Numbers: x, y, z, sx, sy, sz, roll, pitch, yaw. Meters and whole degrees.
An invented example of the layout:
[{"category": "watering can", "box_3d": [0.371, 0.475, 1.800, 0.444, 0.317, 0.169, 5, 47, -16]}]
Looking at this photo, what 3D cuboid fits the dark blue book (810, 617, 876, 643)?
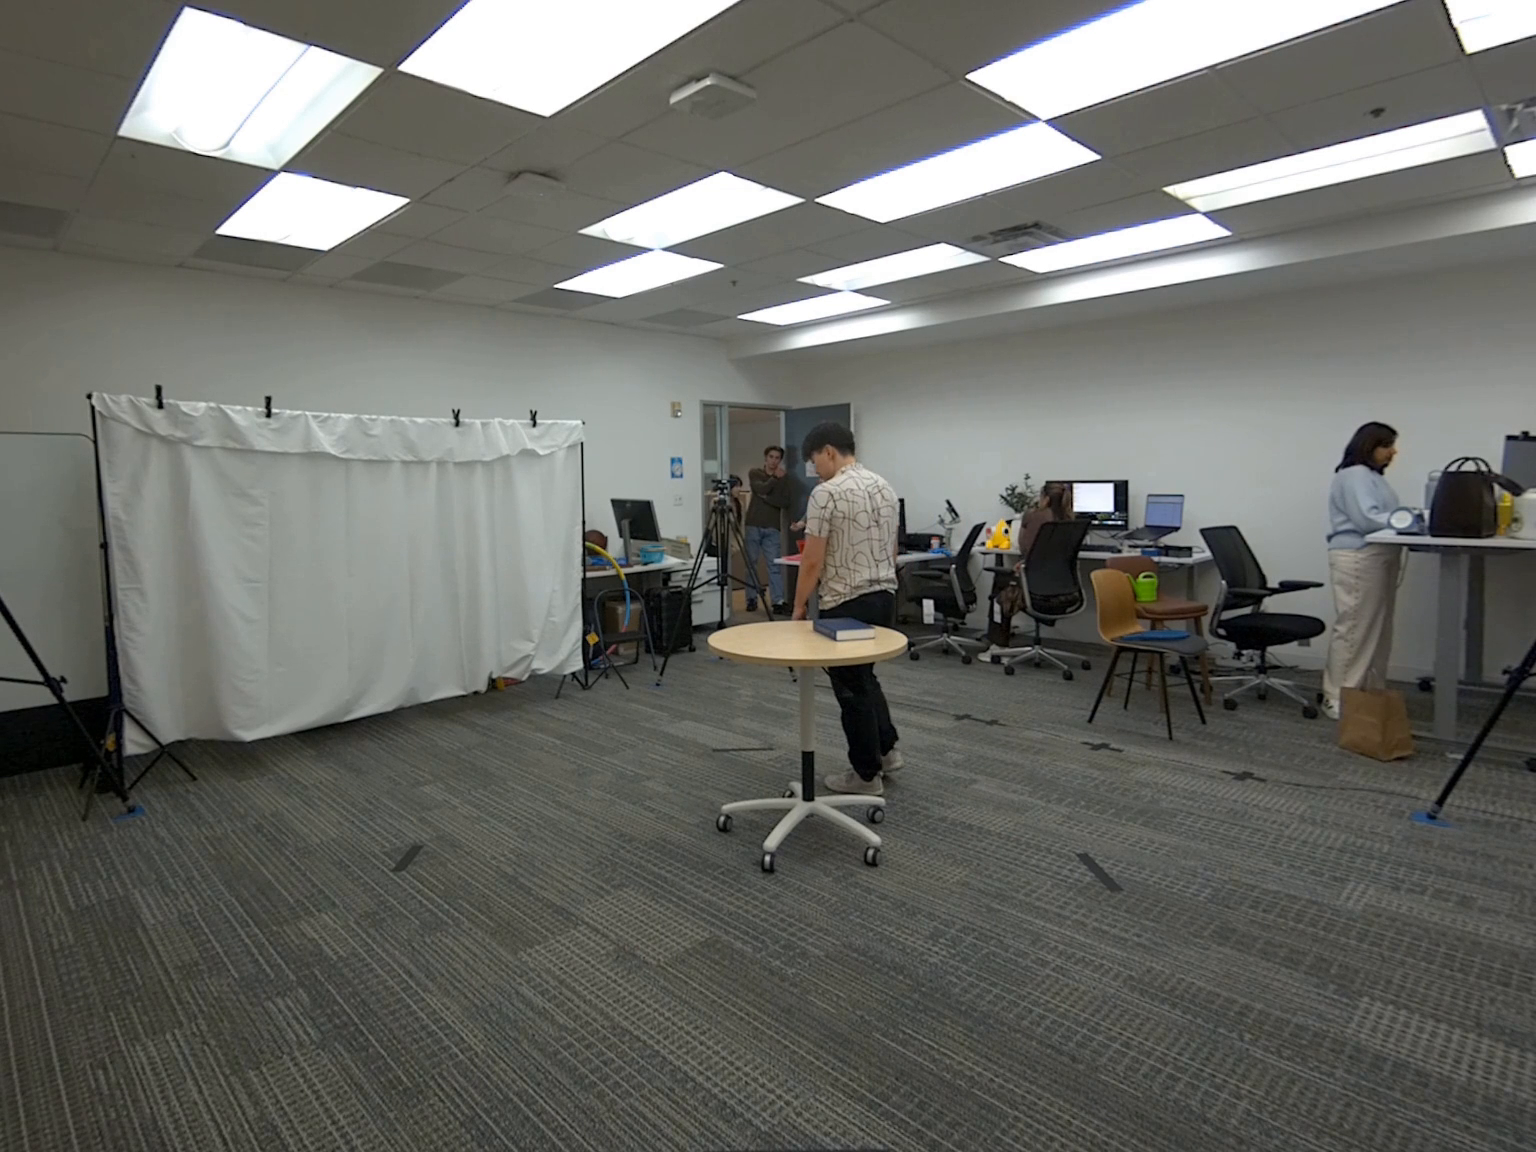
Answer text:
[{"category": "dark blue book", "box_3d": [0.299, 0.211, 3.361, 0.161, 0.045, 0.250, -3, 7, -17]}]
